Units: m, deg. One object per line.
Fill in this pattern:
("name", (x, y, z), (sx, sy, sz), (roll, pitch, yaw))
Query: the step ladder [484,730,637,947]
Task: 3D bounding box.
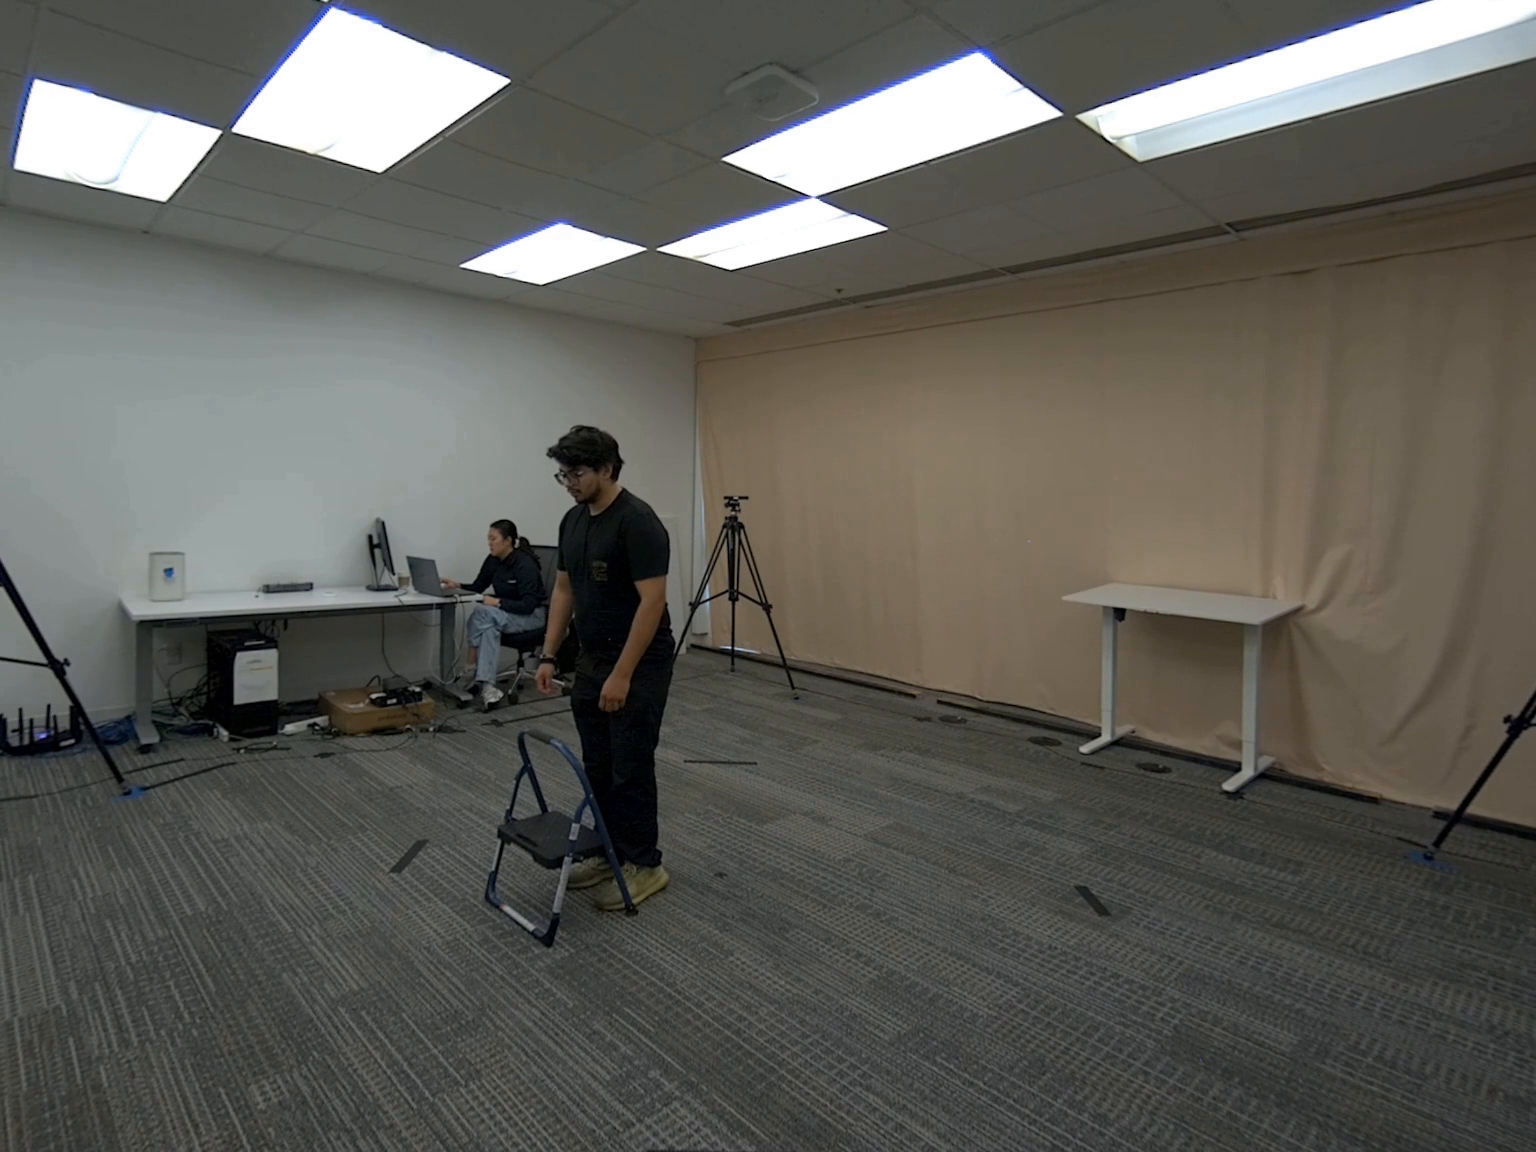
("step ladder", (-0.706, 0.819, 2.819), (0.441, 0.604, 0.341), (4, 5, 45))
